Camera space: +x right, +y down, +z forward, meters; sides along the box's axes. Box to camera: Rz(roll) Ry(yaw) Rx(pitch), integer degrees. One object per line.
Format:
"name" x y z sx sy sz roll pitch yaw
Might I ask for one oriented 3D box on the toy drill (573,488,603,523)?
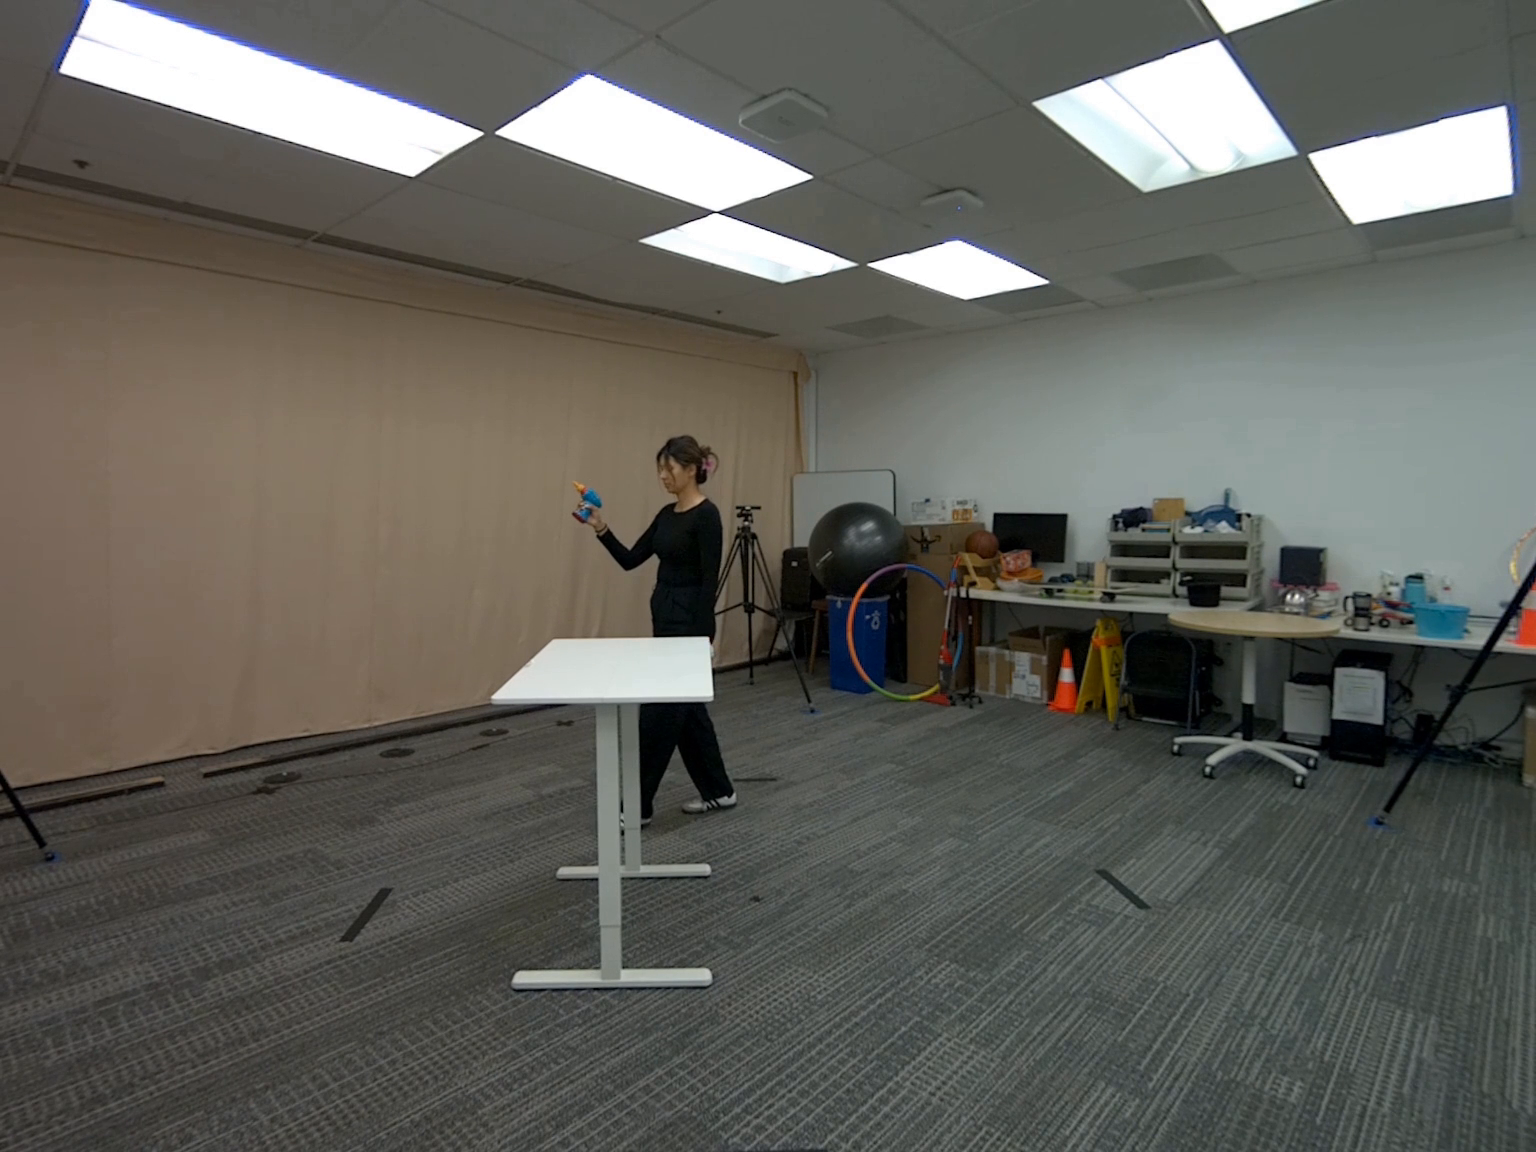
"toy drill" -0.830 -0.335 3.741 0.166 0.146 0.062 43 -24 -17
